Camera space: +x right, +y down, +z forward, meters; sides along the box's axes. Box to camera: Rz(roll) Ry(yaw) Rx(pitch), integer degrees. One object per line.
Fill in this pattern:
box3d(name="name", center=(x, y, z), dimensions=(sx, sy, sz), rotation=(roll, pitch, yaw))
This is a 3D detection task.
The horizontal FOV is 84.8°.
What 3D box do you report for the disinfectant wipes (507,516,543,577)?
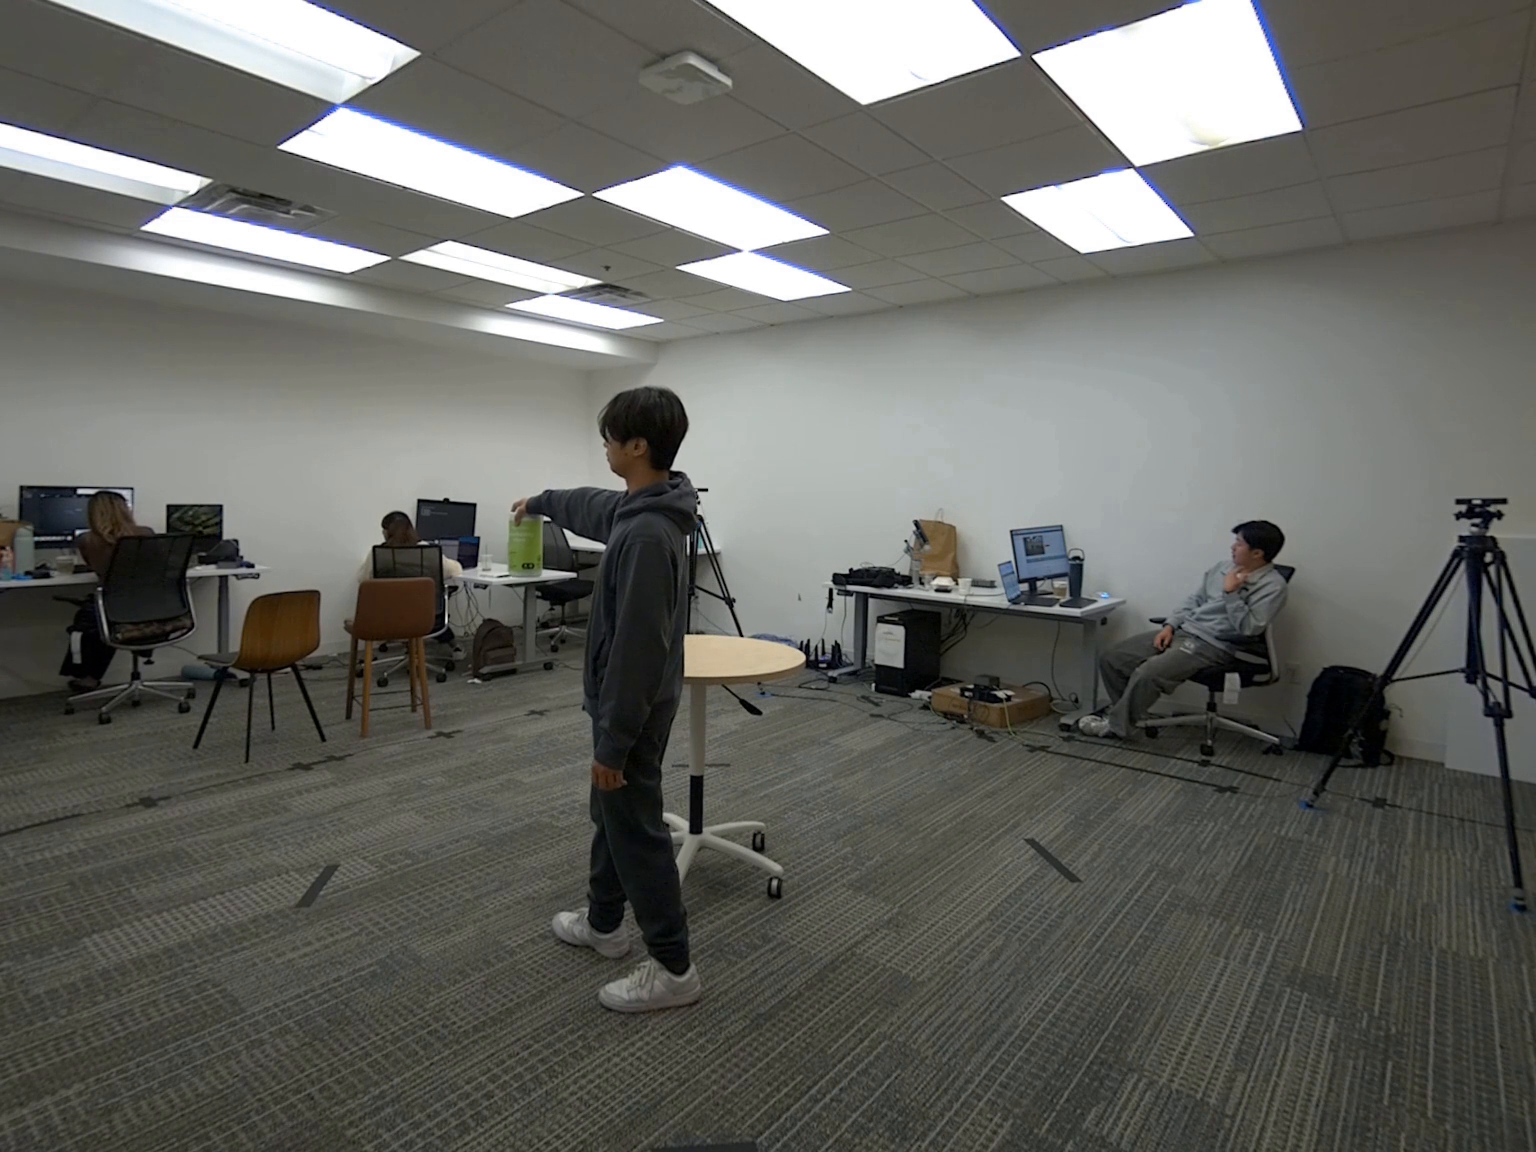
box3d(name="disinfectant wipes", center=(-0.821, -0.108, 2.838), dimensions=(0.118, 0.217, 0.118), rotation=(0, 3, -2))
